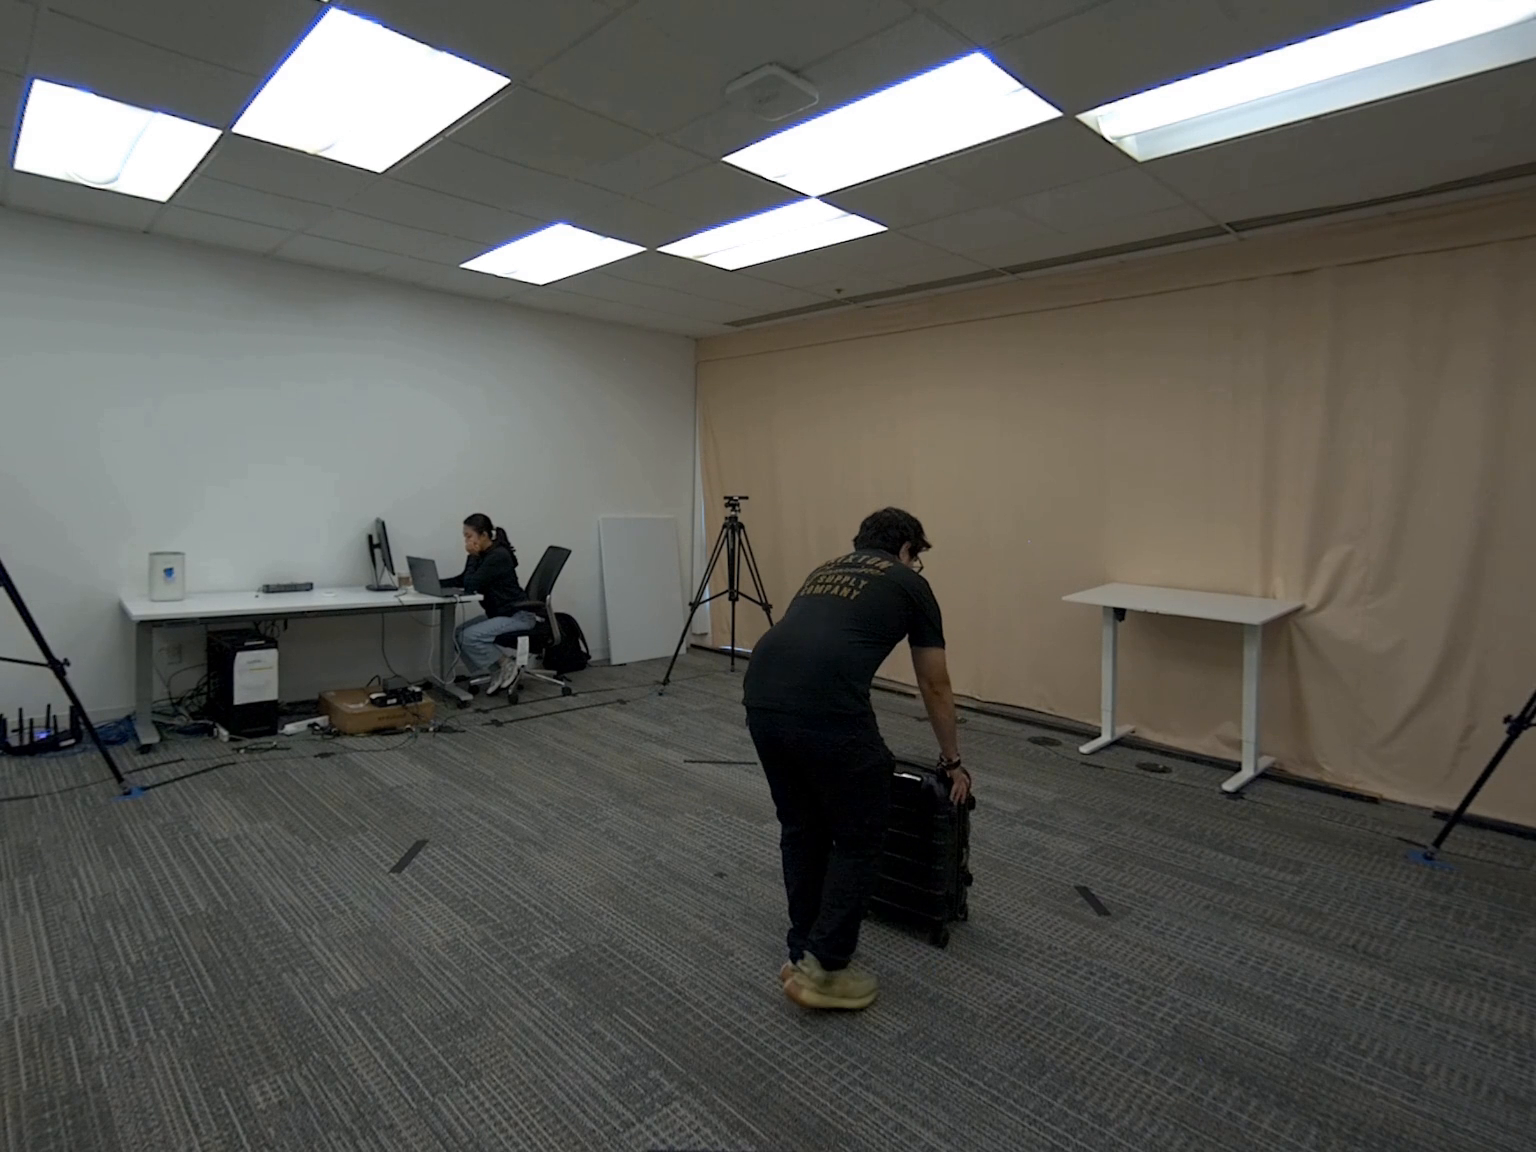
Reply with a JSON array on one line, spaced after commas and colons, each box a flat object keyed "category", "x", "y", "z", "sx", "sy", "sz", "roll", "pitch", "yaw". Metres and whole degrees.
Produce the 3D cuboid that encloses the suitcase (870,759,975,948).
[{"category": "suitcase", "x": 0.470, "y": 0.873, "z": 2.790, "sx": 0.385, "sy": 0.547, "sz": 0.243, "roll": 5, "pitch": 7, "yaw": 36}]
